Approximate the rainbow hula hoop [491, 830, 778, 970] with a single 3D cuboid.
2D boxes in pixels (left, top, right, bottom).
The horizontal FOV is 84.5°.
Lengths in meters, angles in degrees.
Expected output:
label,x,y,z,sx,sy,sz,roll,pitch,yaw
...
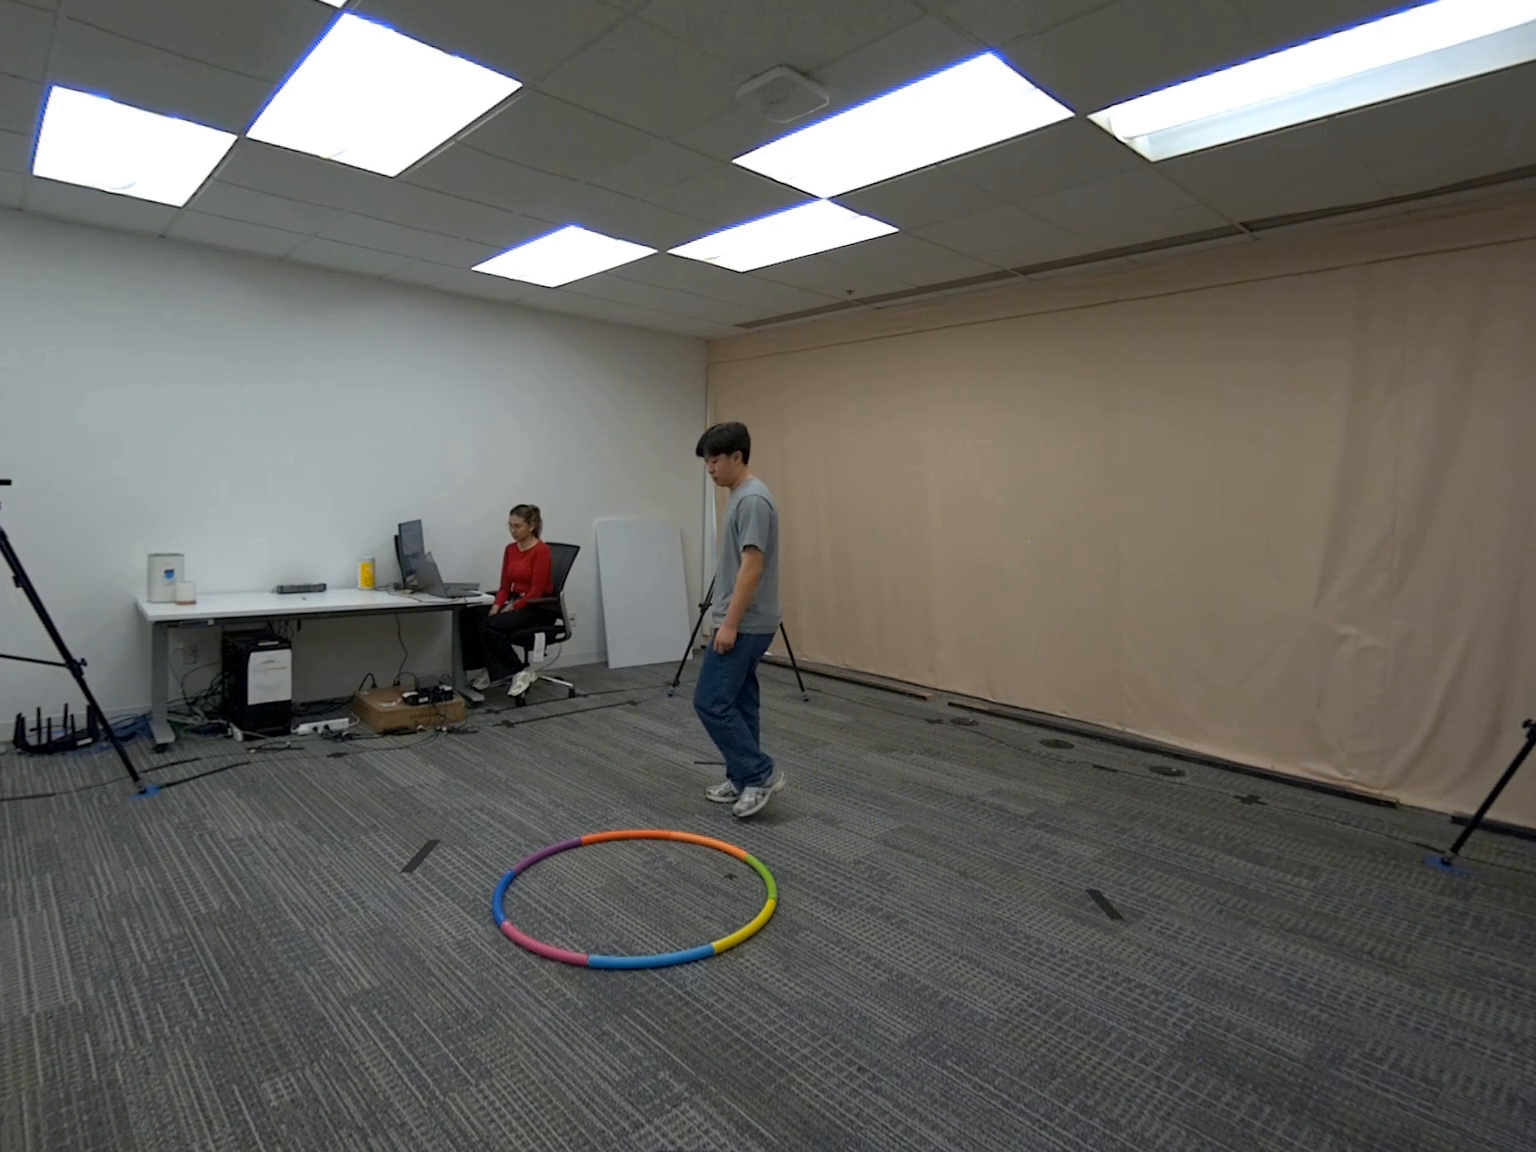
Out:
label,x,y,z,sx,sy,sz,roll,pitch,yaw
rainbow hula hoop,-0.461,1.079,2.957,0.978,0.035,0.982,1,5,-1
